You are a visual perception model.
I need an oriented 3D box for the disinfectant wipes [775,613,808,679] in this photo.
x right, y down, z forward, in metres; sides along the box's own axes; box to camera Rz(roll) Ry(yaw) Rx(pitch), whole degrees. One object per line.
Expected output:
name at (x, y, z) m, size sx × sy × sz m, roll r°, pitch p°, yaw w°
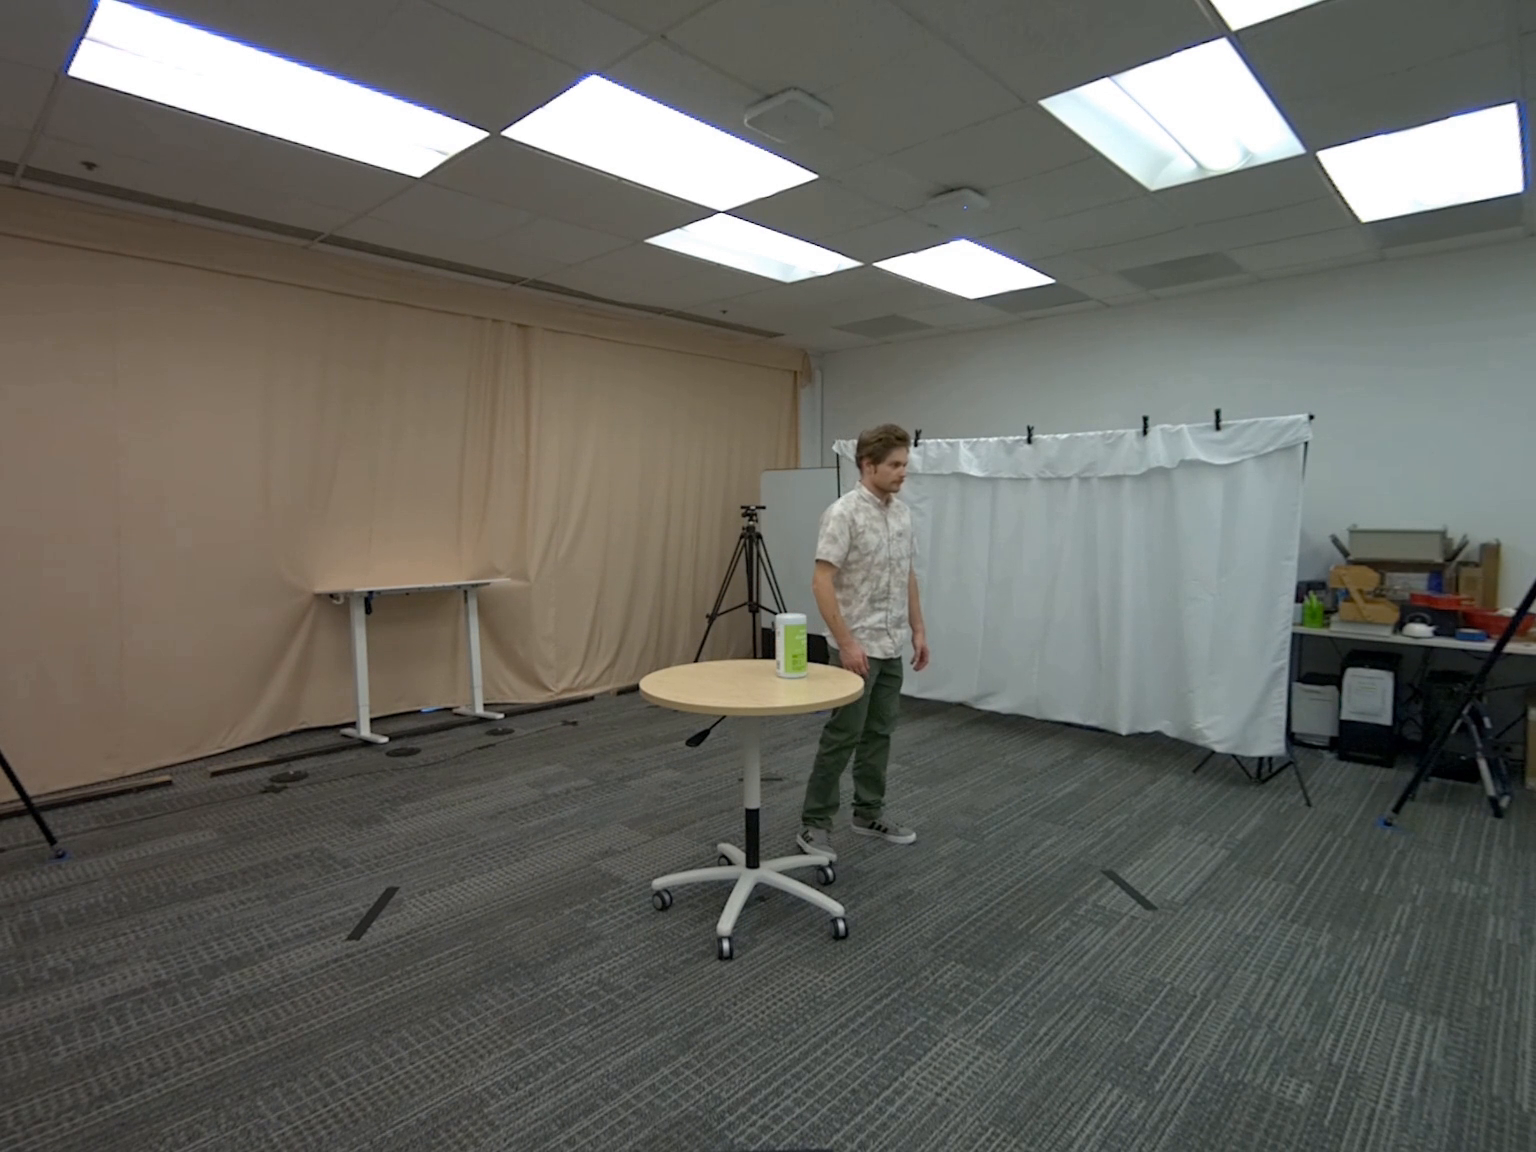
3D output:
disinfectant wipes at (0.083, 0.242, 2.958) m, size 0.117 × 0.217 × 0.118 m, roll 3°, pitch 4°, yaw -2°
